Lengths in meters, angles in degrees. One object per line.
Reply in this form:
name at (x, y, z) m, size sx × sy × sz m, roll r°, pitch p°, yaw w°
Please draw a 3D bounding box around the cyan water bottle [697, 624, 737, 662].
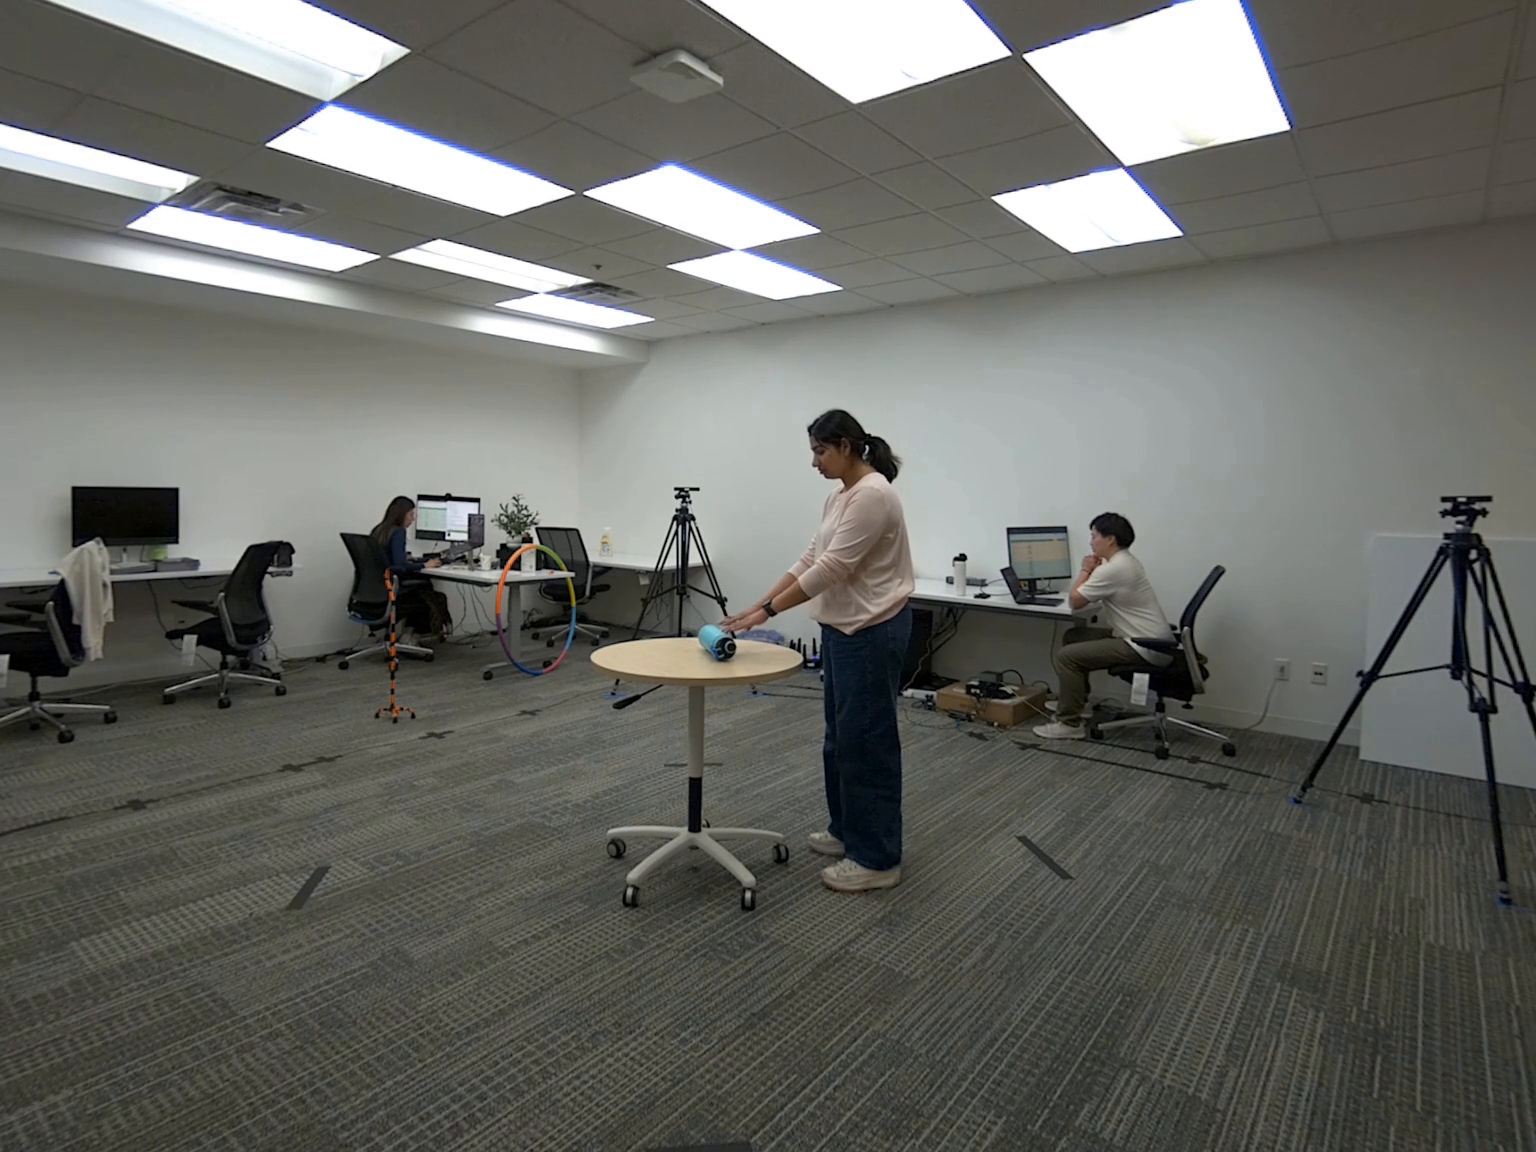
cyan water bottle at (-0.190, 0.239, 3.084) m, size 0.091 × 0.092 × 0.288 m, roll 0°, pitch 6°, yaw -14°
